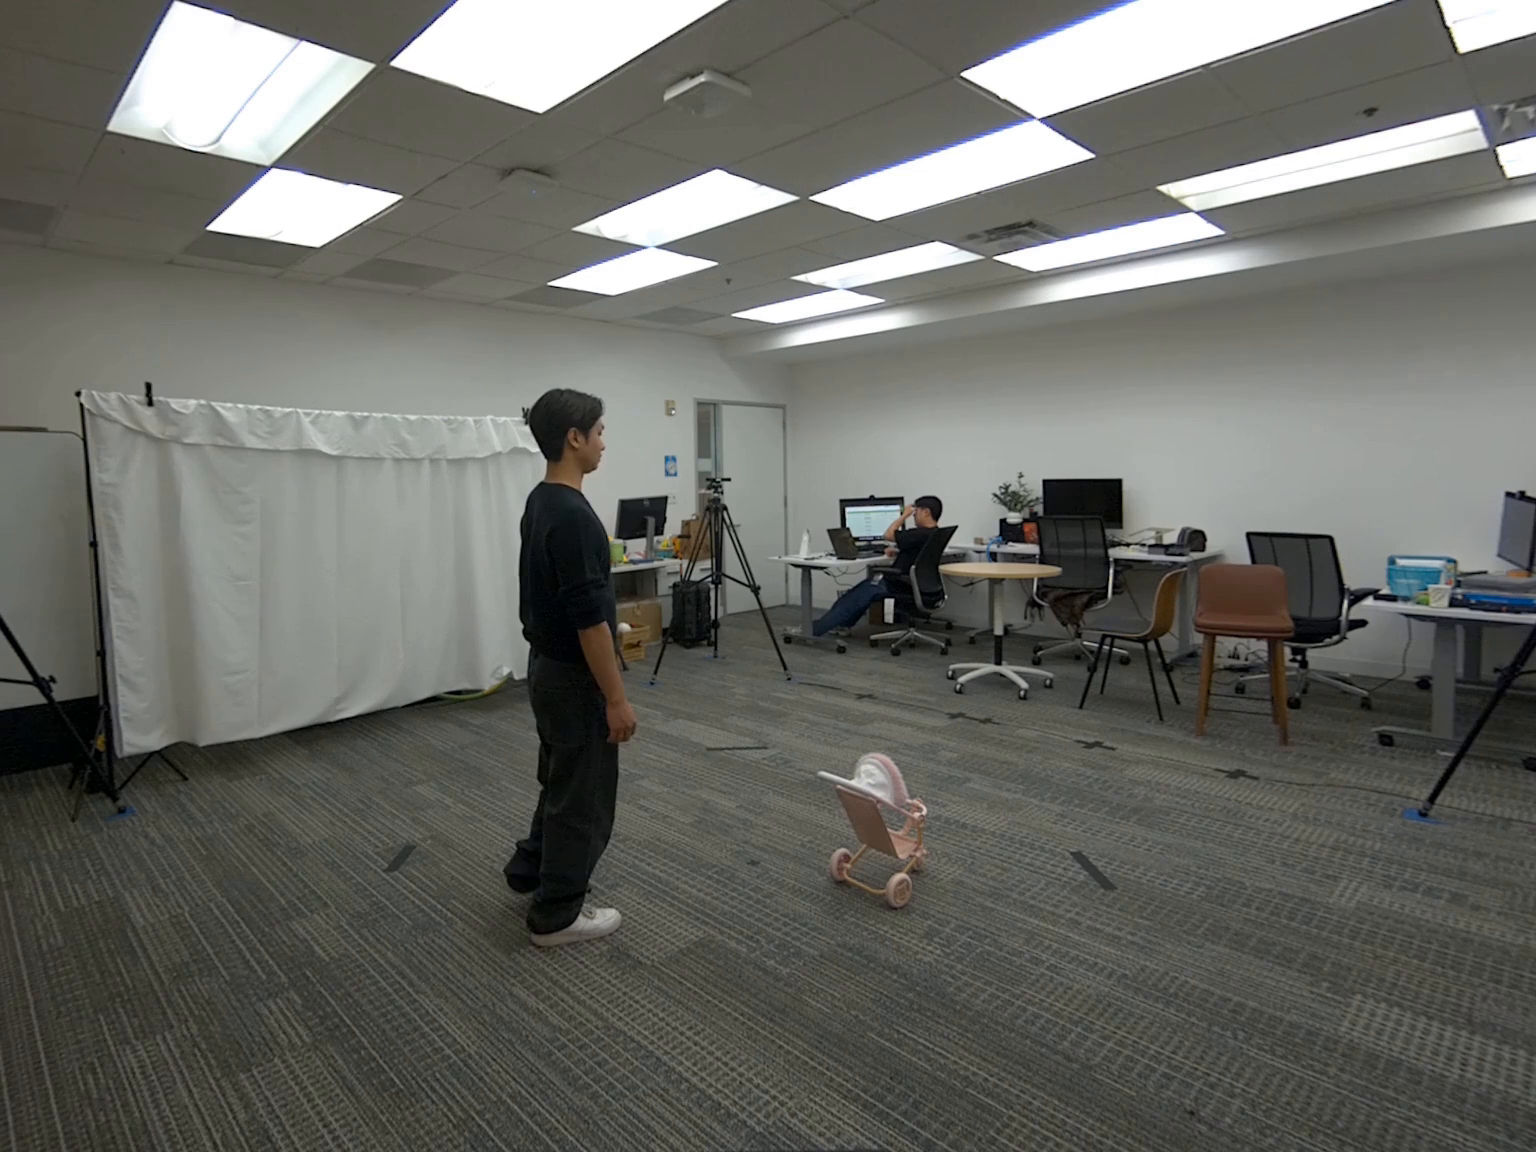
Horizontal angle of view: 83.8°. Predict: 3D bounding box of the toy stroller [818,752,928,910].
[{"bbox_3d":[0.387,0.834,2.890,0.336,0.527,0.290,-23,16,-34],"label":"toy stroller"}]
